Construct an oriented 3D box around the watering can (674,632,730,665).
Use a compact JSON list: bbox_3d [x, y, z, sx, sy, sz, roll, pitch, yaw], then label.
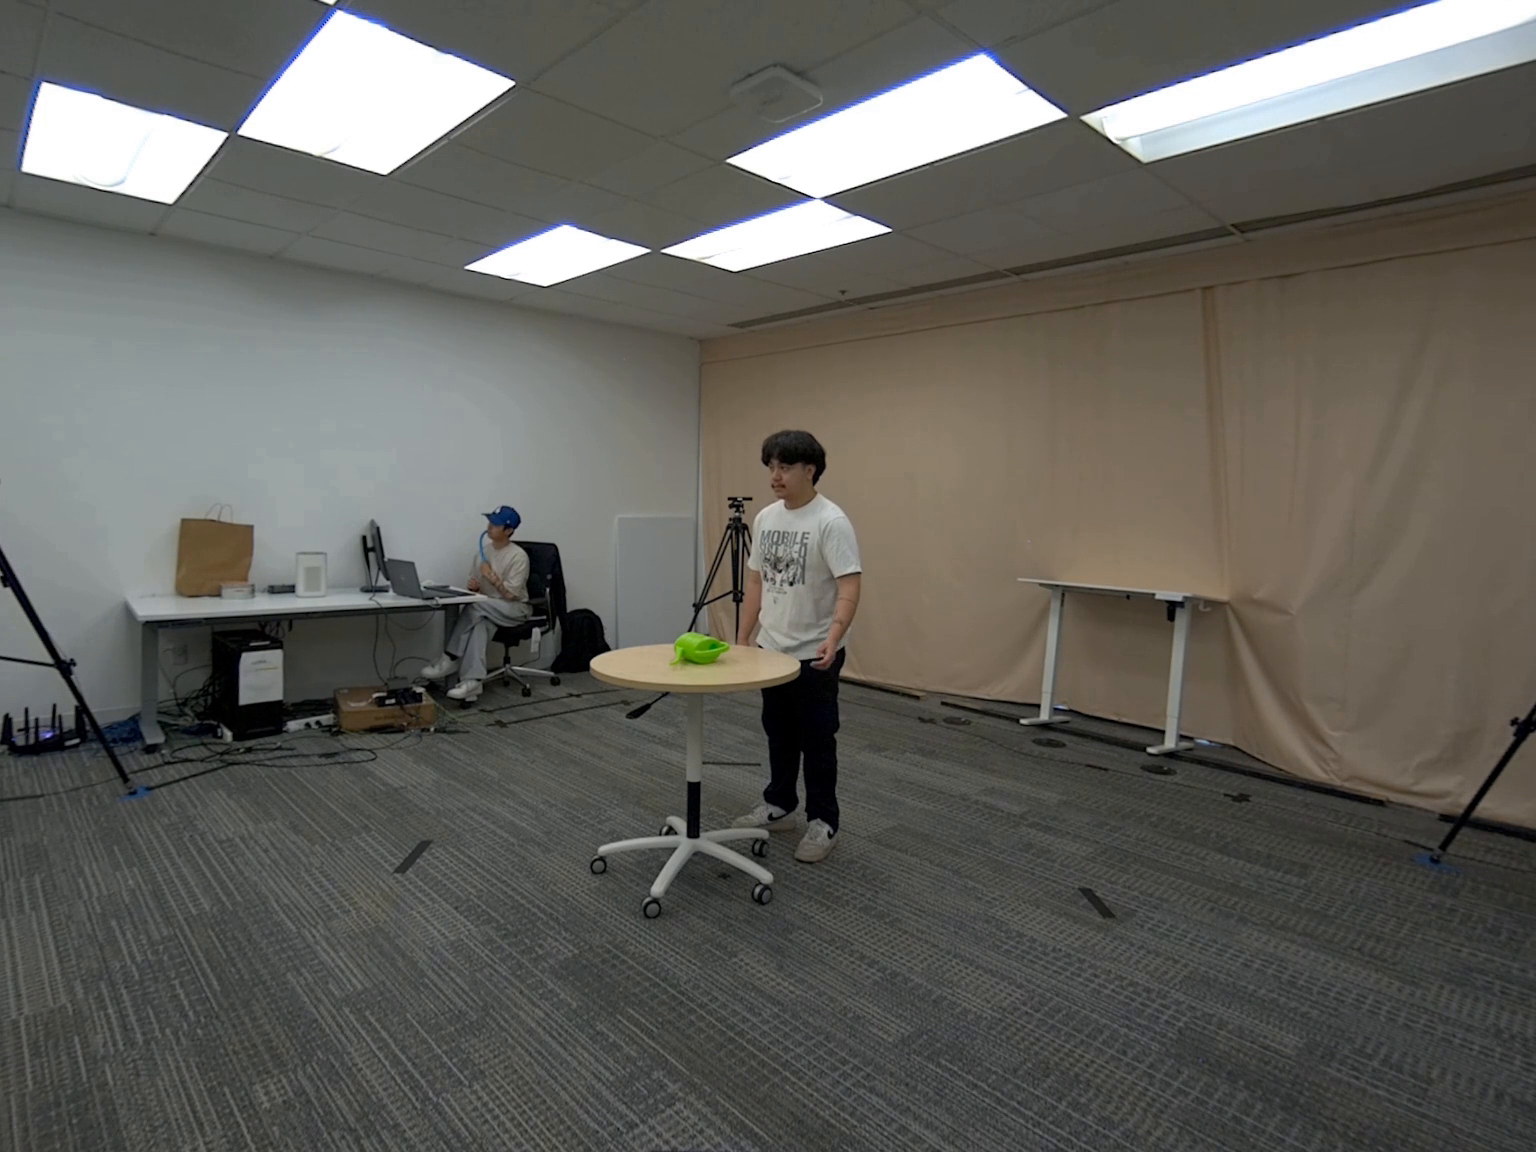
[{"bbox_3d":[-0.284,0.264,3.044,0.271,0.098,0.181,4,2,-39],"label":"watering can"}]
